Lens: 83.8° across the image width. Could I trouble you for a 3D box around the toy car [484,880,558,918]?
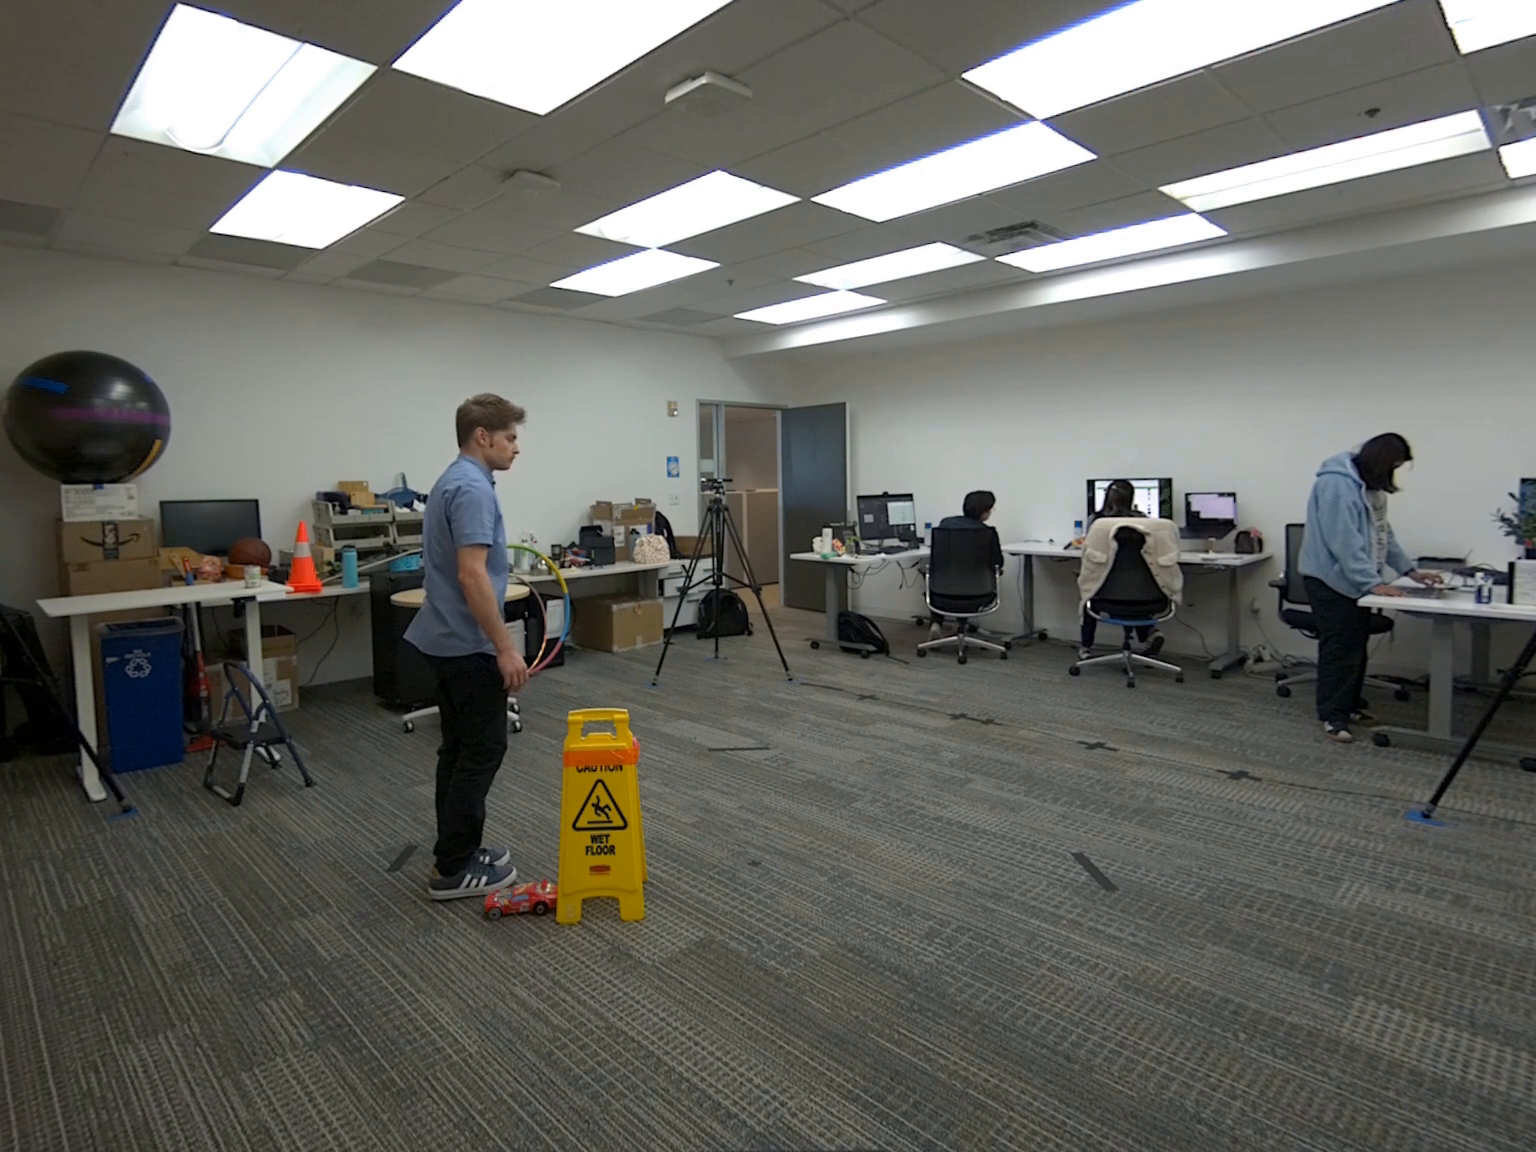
[{"bbox_3d":[-0.793,1.062,2.805,0.253,0.083,0.131,-12,6,-5],"label":"toy car"}]
